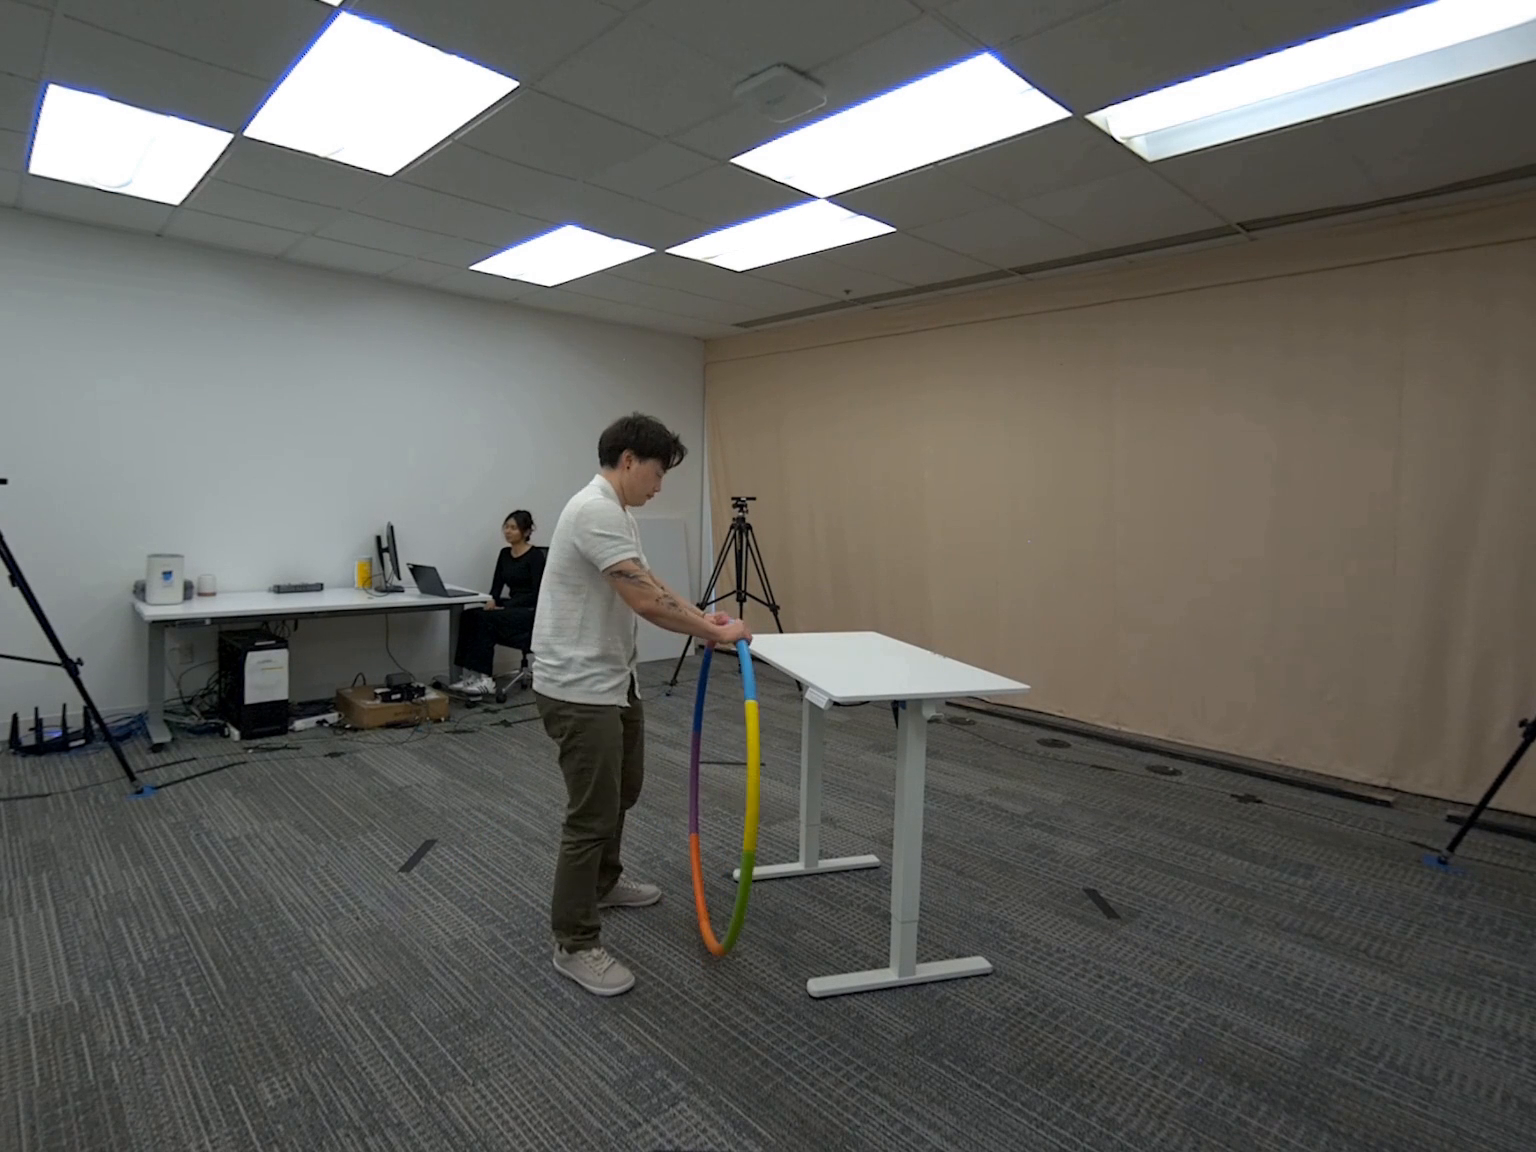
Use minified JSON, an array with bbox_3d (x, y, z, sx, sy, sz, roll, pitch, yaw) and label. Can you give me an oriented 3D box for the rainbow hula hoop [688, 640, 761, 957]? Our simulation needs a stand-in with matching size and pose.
[{"bbox_3d":[-0.160,0.642,2.597,0.035,0.977,0.991,4,3,-14],"label":"rainbow hula hoop"}]
